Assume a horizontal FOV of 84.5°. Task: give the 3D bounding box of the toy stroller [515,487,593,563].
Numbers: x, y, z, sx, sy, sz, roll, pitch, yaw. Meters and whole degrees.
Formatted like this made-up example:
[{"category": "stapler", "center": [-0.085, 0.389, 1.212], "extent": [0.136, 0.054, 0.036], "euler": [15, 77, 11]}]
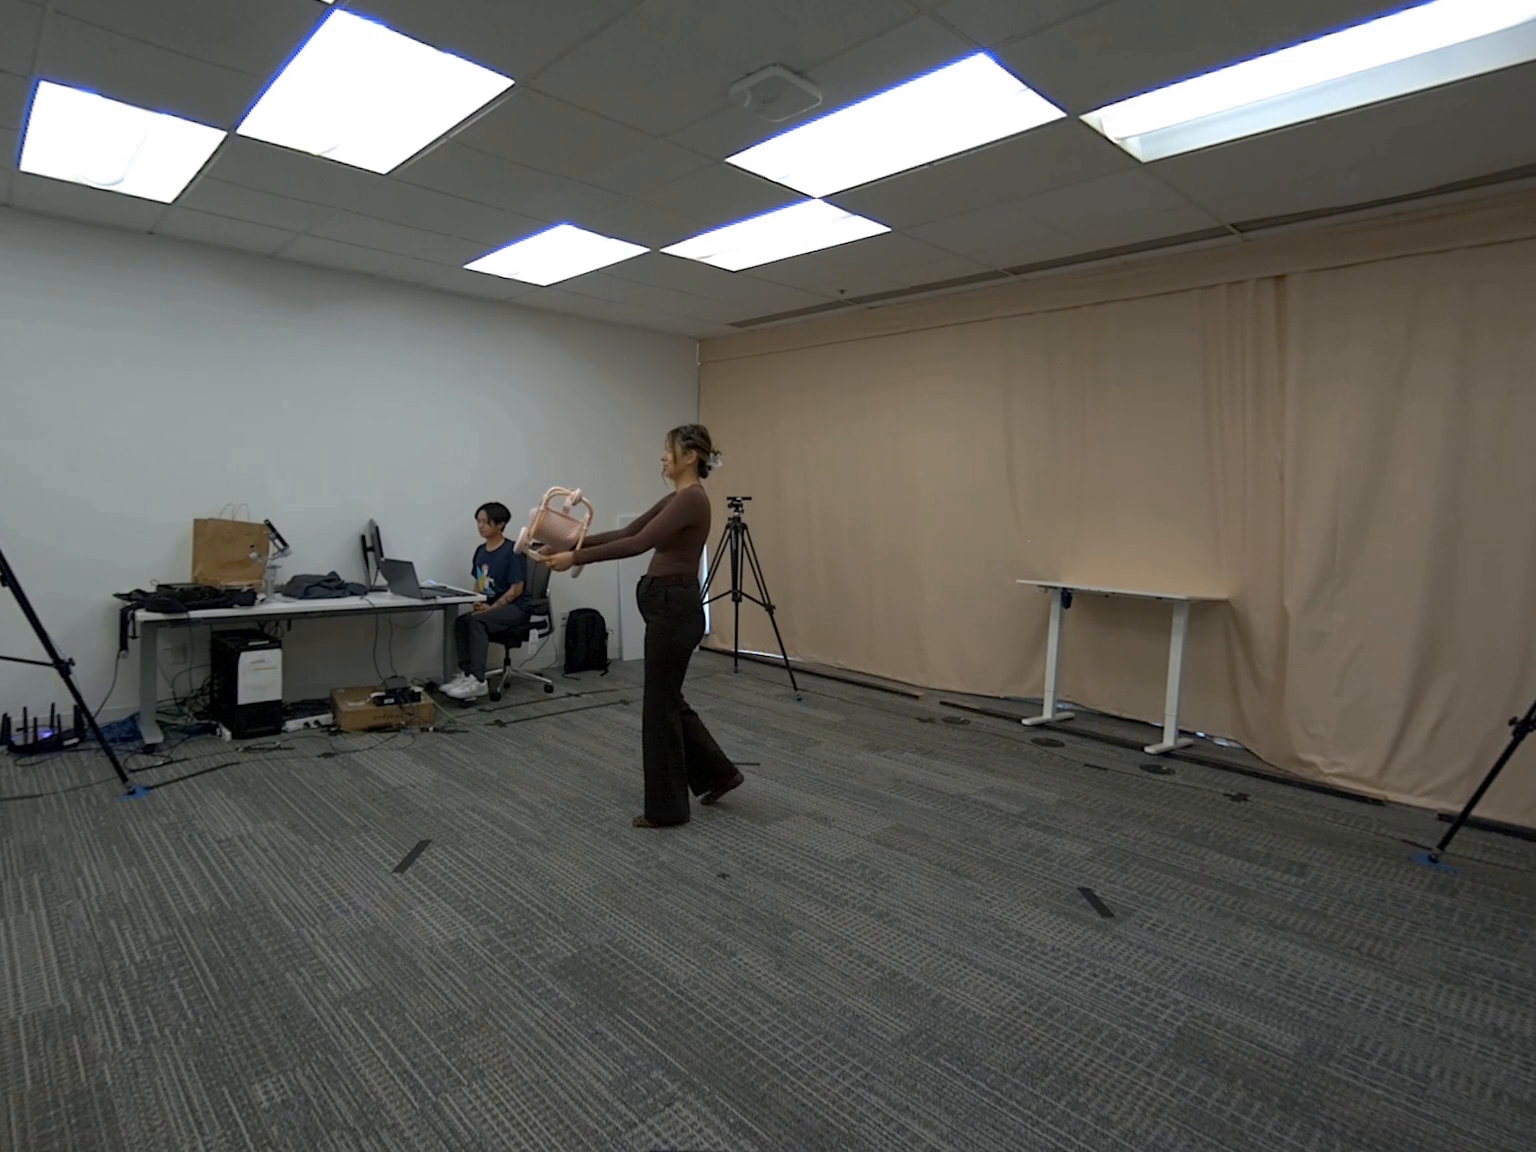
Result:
[{"category": "toy stroller", "center": [-0.873, -0.201, 3.485], "extent": [0.276, 0.342, 0.543], "euler": [20, -2, -19]}]
